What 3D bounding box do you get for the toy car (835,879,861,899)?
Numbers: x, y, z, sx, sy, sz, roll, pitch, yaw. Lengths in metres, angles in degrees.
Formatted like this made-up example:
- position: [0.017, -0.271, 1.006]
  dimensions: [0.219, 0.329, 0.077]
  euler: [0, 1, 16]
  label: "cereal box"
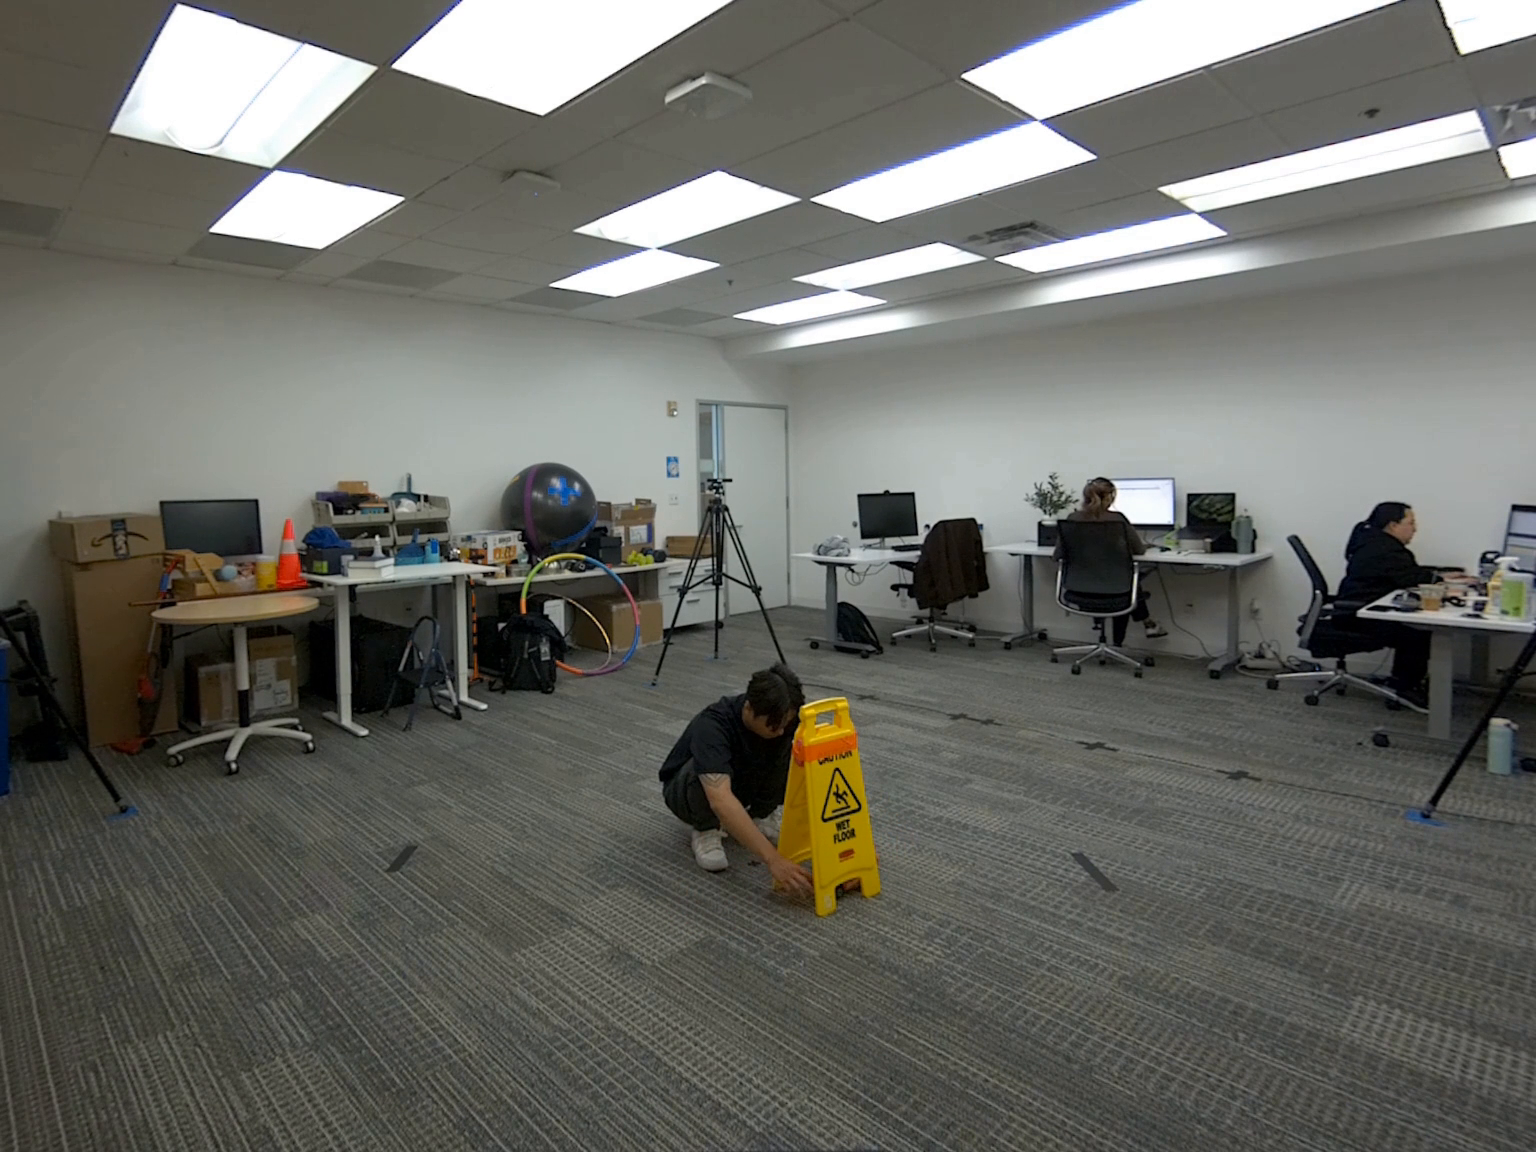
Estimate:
- position: [0.246, 1.040, 2.892]
  dimensions: [0.247, 0.083, 0.134]
  euler: [9, 1, -32]
  label: "toy car"
